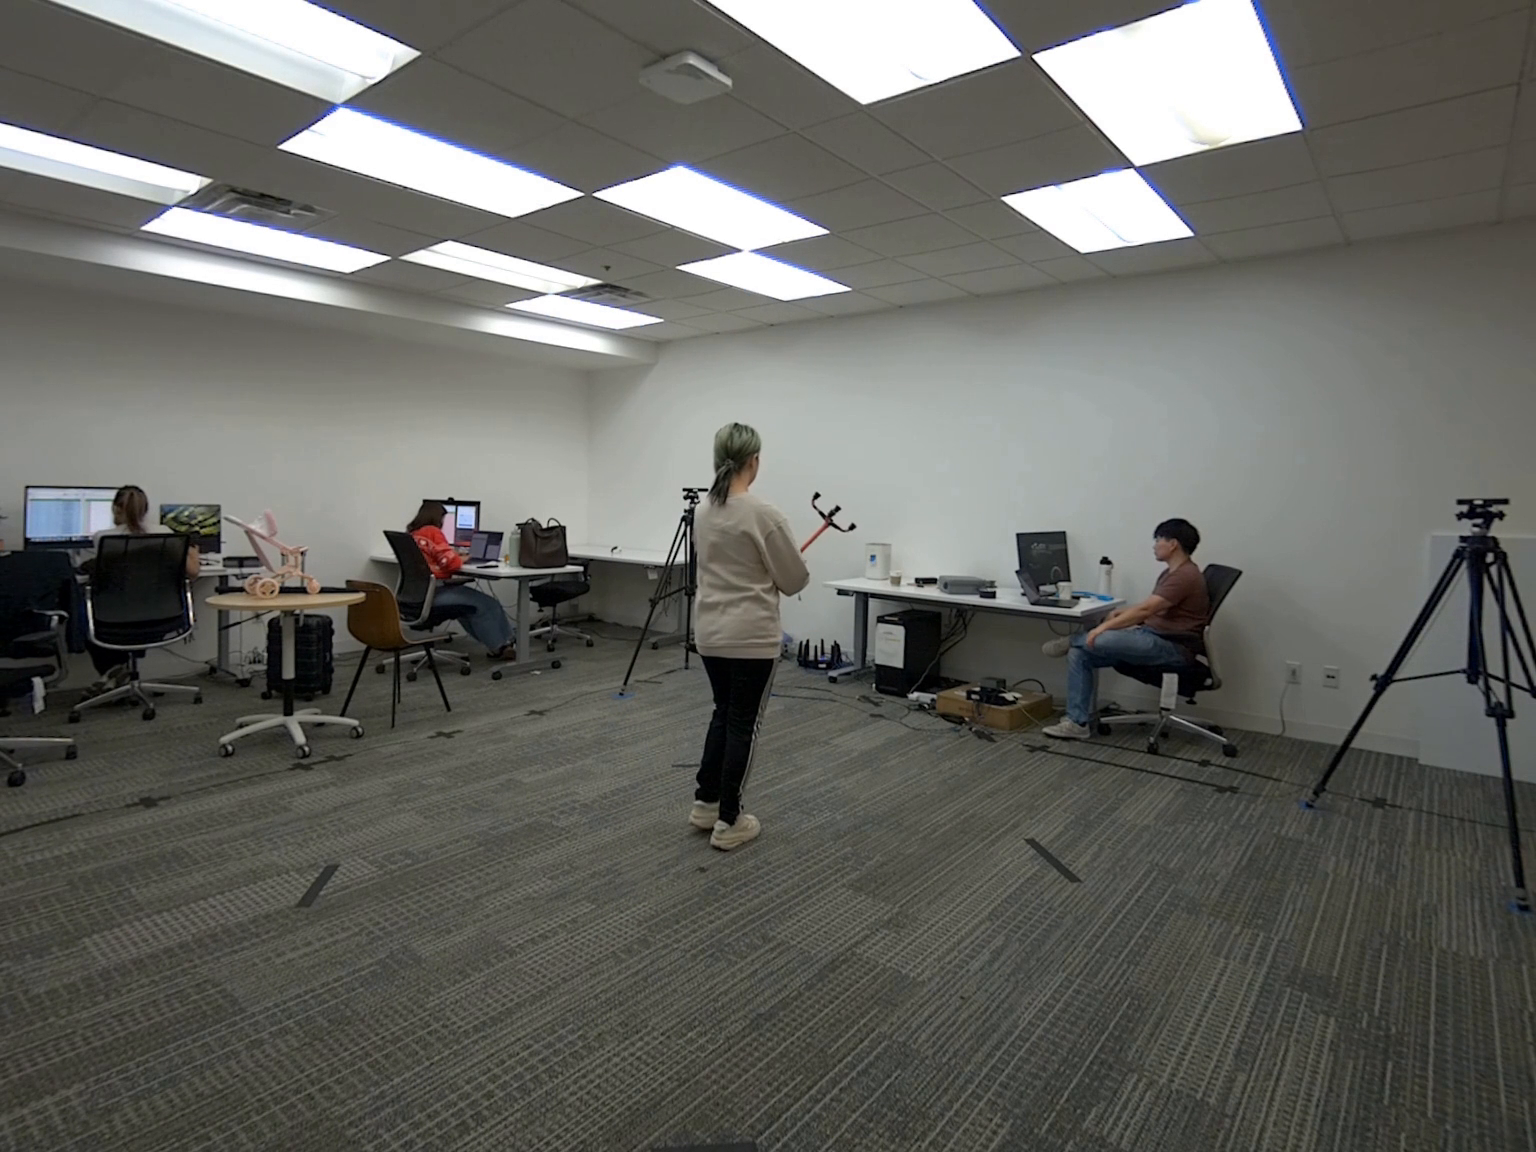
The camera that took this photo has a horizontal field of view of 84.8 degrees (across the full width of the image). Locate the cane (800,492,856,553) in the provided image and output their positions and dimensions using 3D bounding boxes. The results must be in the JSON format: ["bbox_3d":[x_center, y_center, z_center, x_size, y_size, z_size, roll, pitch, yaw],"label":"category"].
[{"bbox_3d":[-0.024,0.028,3.754,0.198,0.908,0.158,26,22,-50],"label":"cane"}]
